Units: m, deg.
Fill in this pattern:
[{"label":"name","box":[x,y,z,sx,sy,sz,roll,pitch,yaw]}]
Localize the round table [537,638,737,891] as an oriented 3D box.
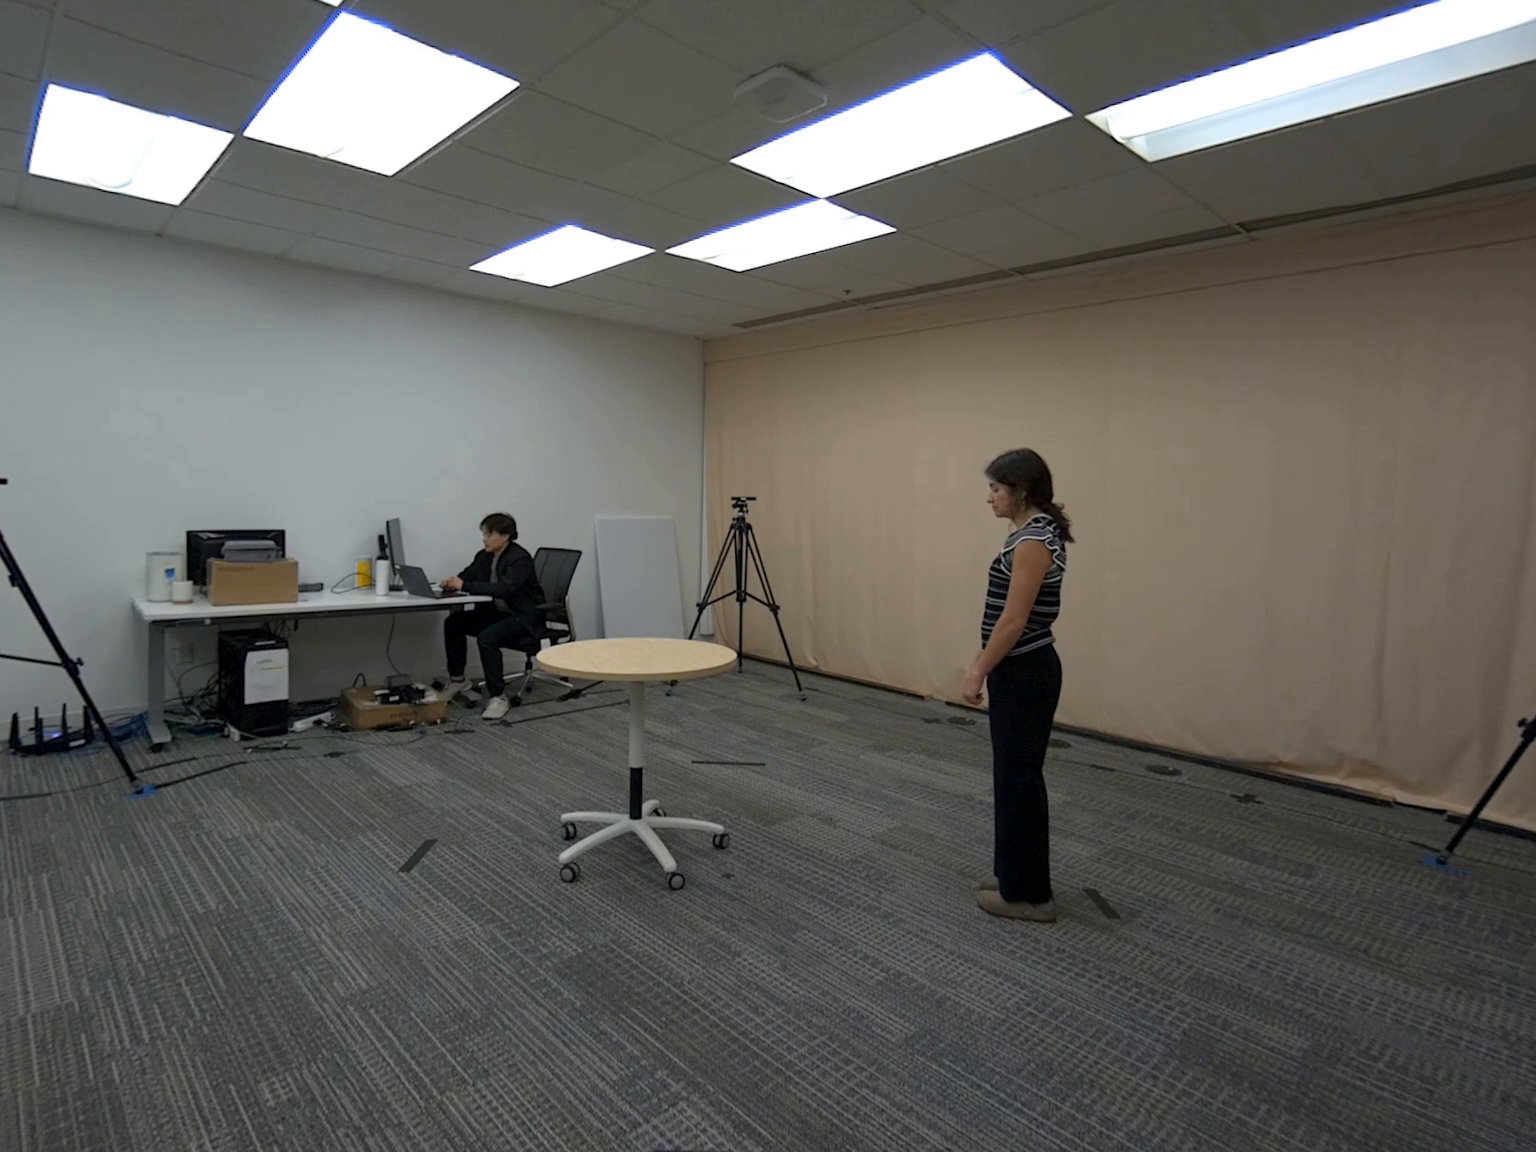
[{"label":"round table","box":[-0.508,0.691,3.267,0.763,0.792,0.766,1,4,-1]}]
